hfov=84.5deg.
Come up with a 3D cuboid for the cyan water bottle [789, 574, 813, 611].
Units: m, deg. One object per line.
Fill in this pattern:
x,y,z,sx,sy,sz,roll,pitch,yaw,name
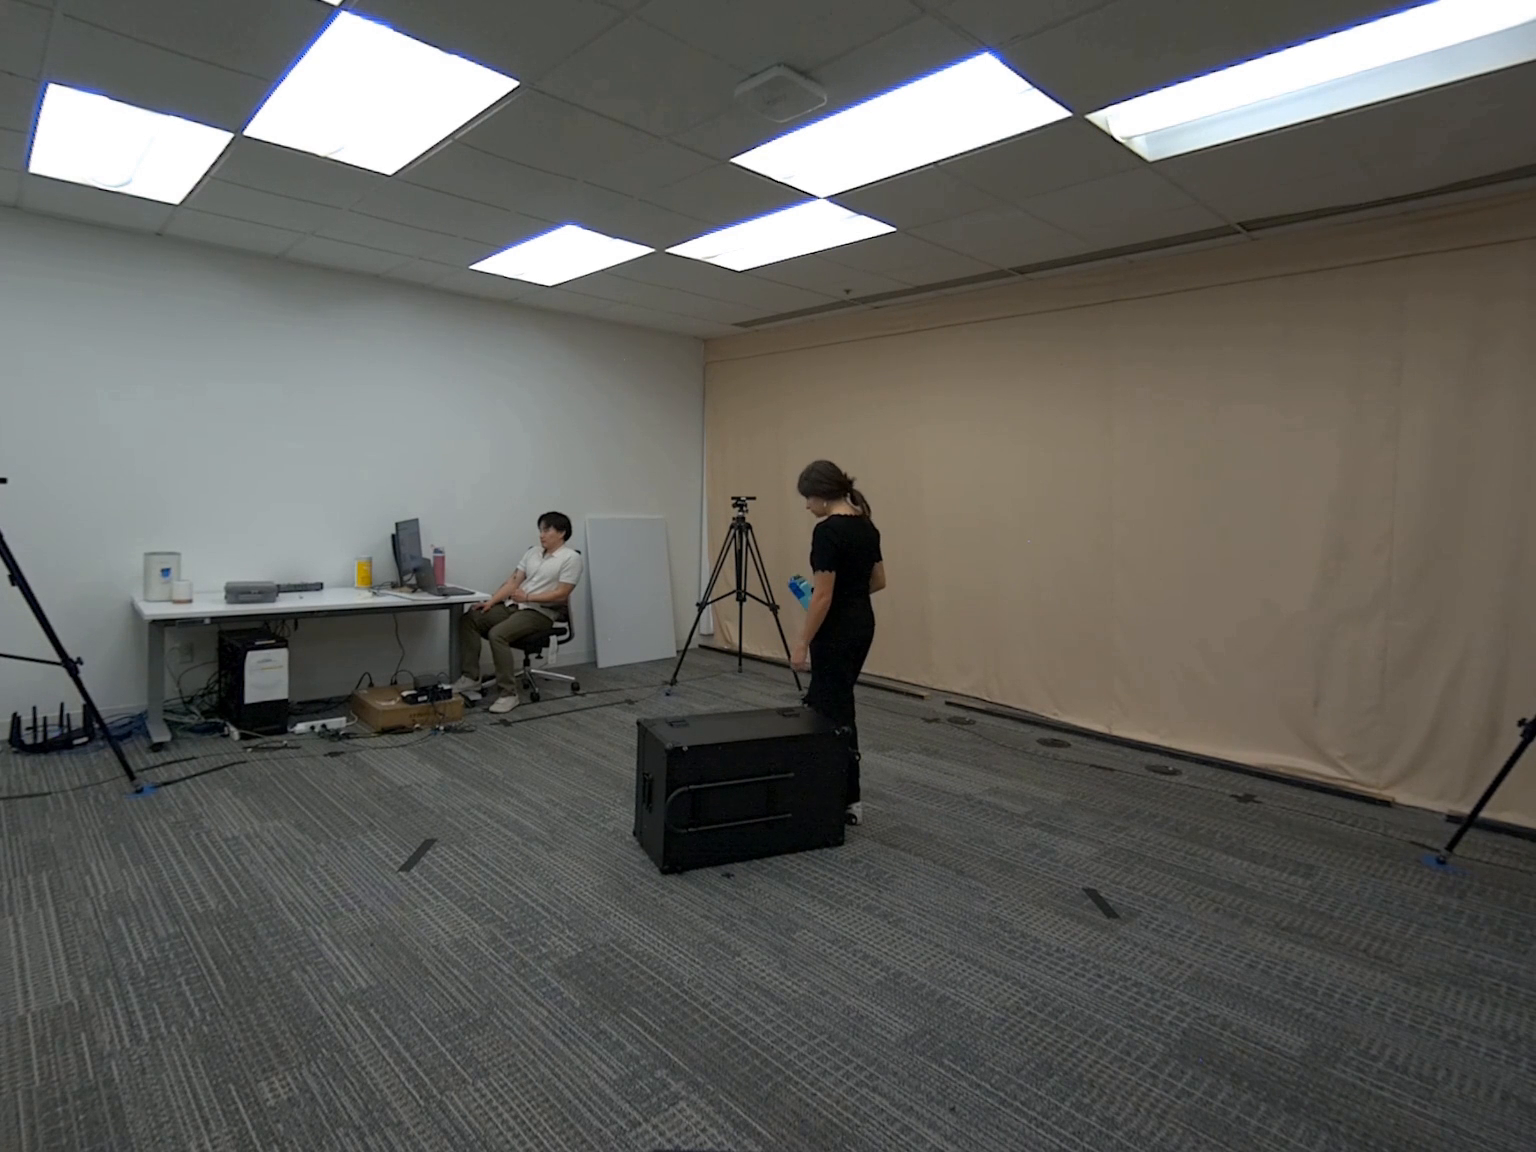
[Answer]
0.189,0.116,3.949,0.092,0.285,0.092,-34,-6,-4,cyan water bottle
